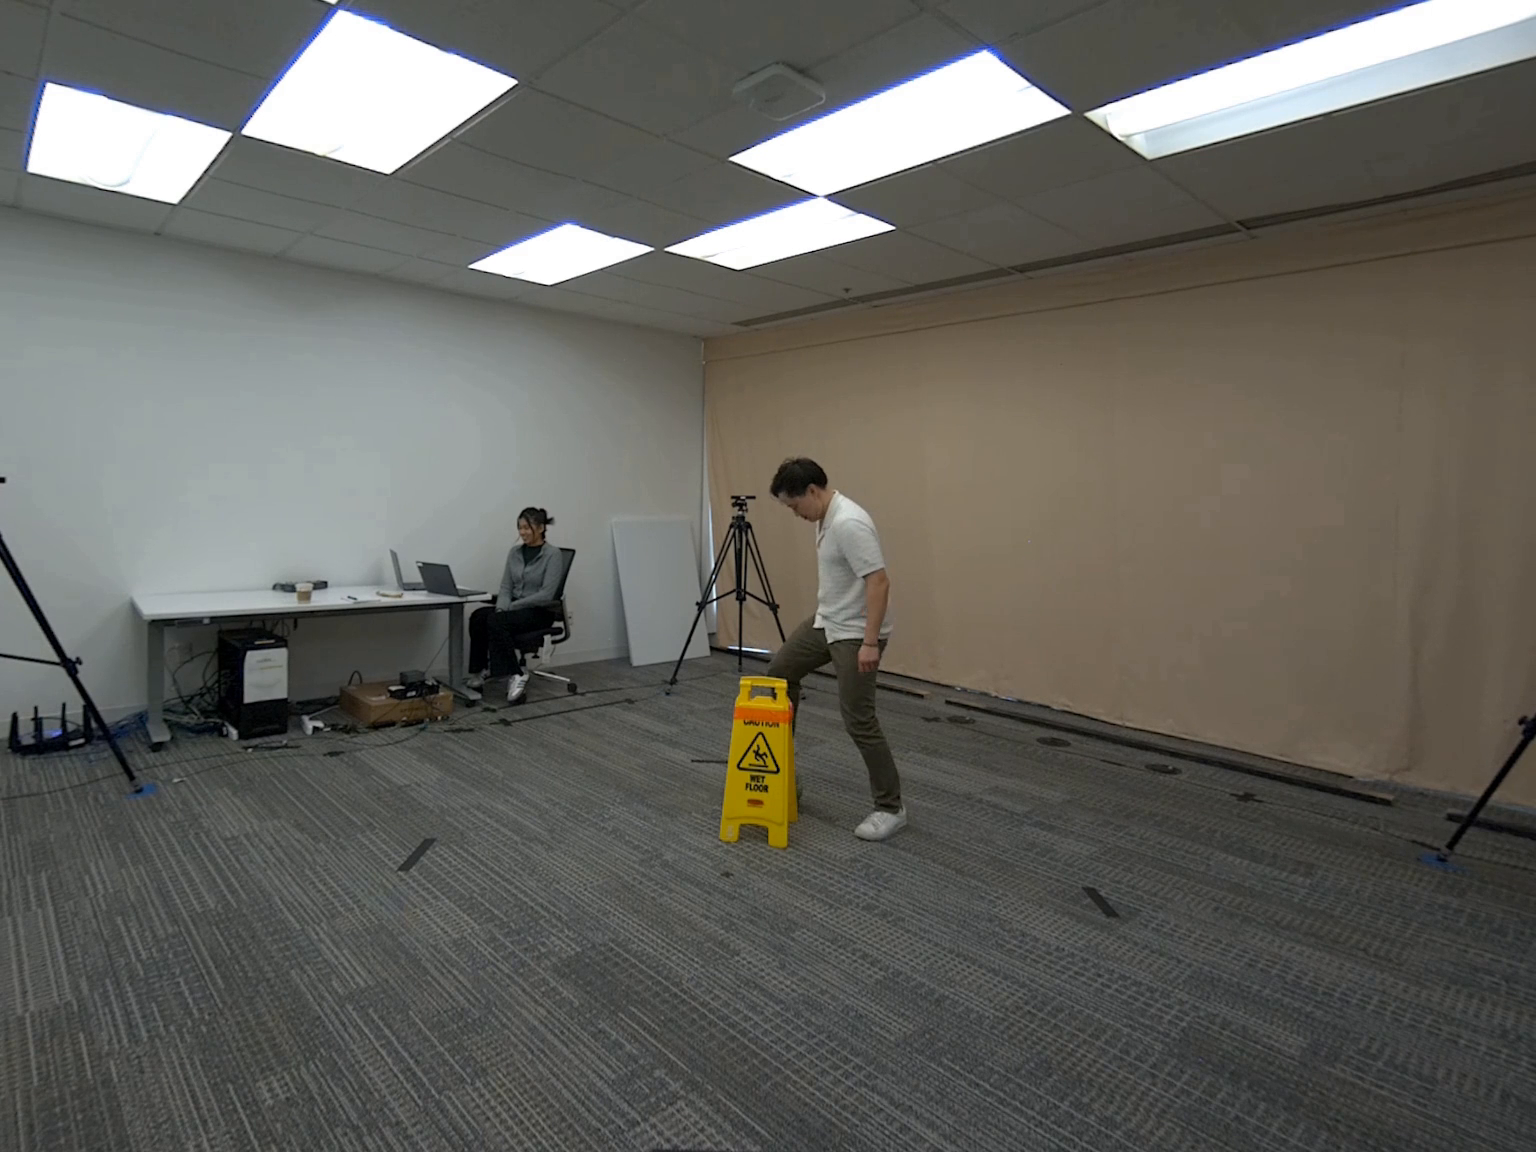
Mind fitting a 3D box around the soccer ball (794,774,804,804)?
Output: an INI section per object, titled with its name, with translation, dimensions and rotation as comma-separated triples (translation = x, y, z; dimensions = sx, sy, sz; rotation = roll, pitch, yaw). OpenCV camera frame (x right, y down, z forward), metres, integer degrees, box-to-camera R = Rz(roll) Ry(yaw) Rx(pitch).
[soccer ball]
translation = 0.060, 0.956, 3.808
dimensions = 0.187, 0.187, 0.188
rotation = 1, 4, -1
